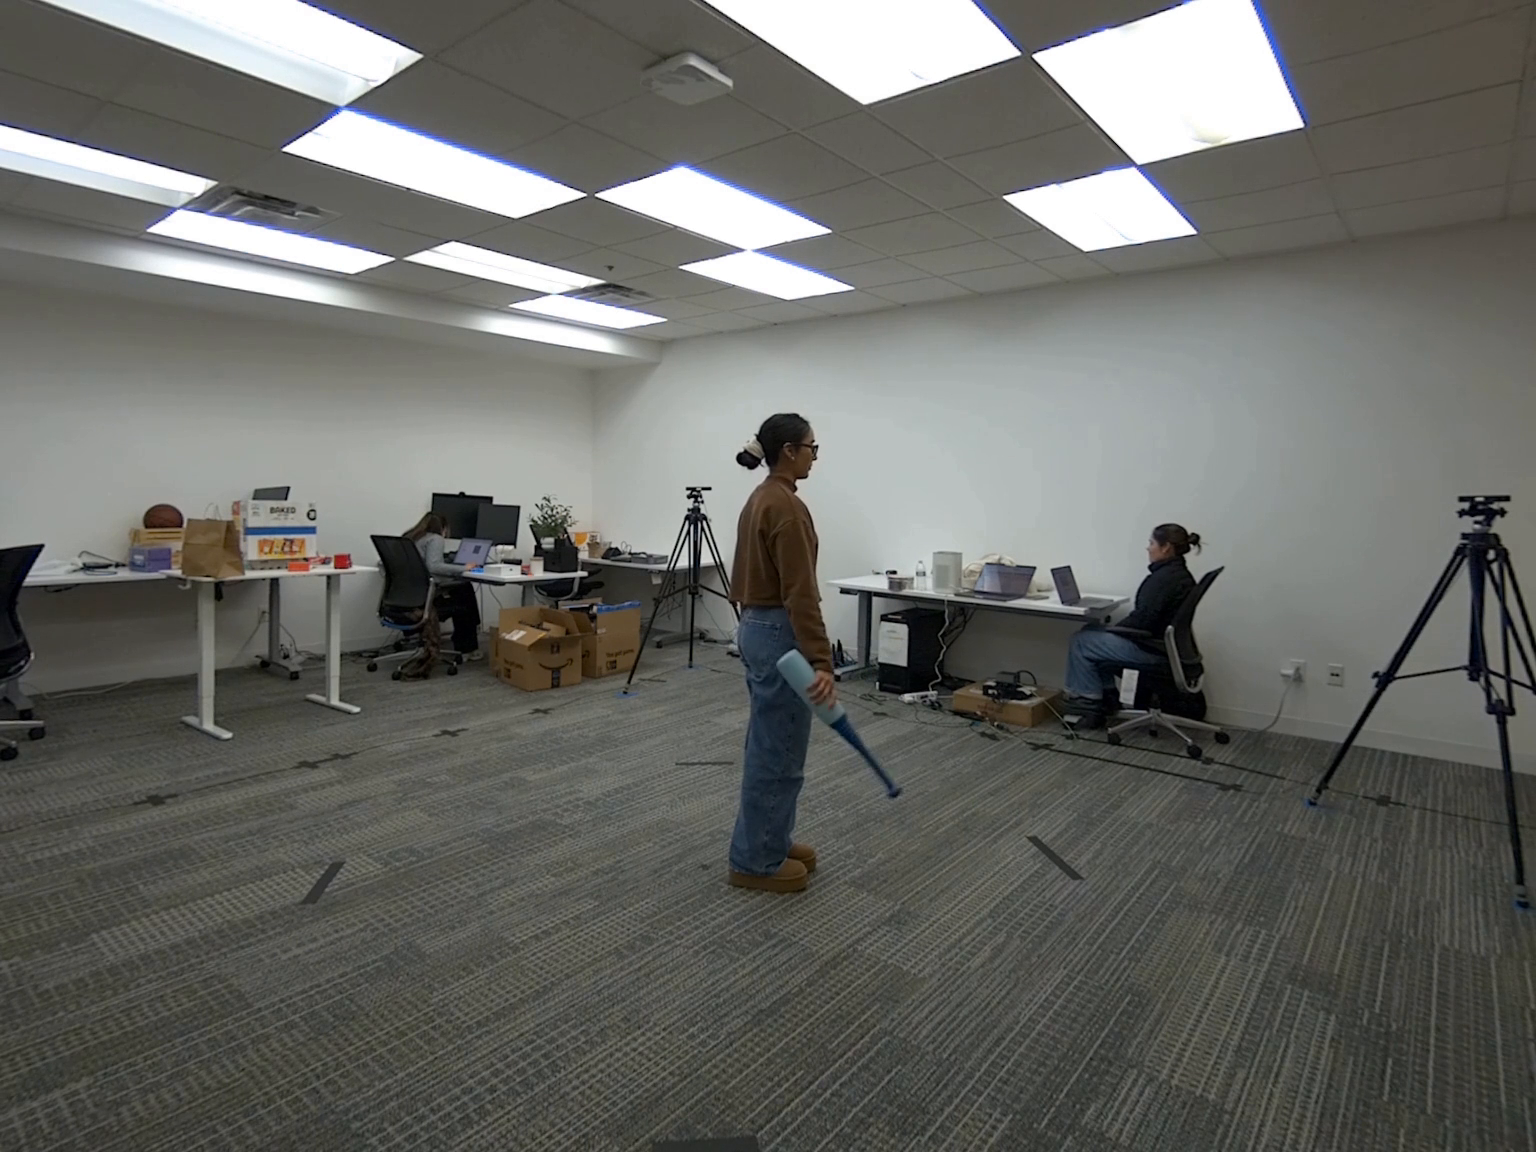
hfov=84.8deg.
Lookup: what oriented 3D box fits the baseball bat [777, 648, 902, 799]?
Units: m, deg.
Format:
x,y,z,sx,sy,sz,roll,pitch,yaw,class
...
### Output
x,y,z,sx,sy,sz,roll,pitch,yaw,class
0.222,0.443,2.659,0.089,0.550,0.088,-39,-8,-7,baseball bat
